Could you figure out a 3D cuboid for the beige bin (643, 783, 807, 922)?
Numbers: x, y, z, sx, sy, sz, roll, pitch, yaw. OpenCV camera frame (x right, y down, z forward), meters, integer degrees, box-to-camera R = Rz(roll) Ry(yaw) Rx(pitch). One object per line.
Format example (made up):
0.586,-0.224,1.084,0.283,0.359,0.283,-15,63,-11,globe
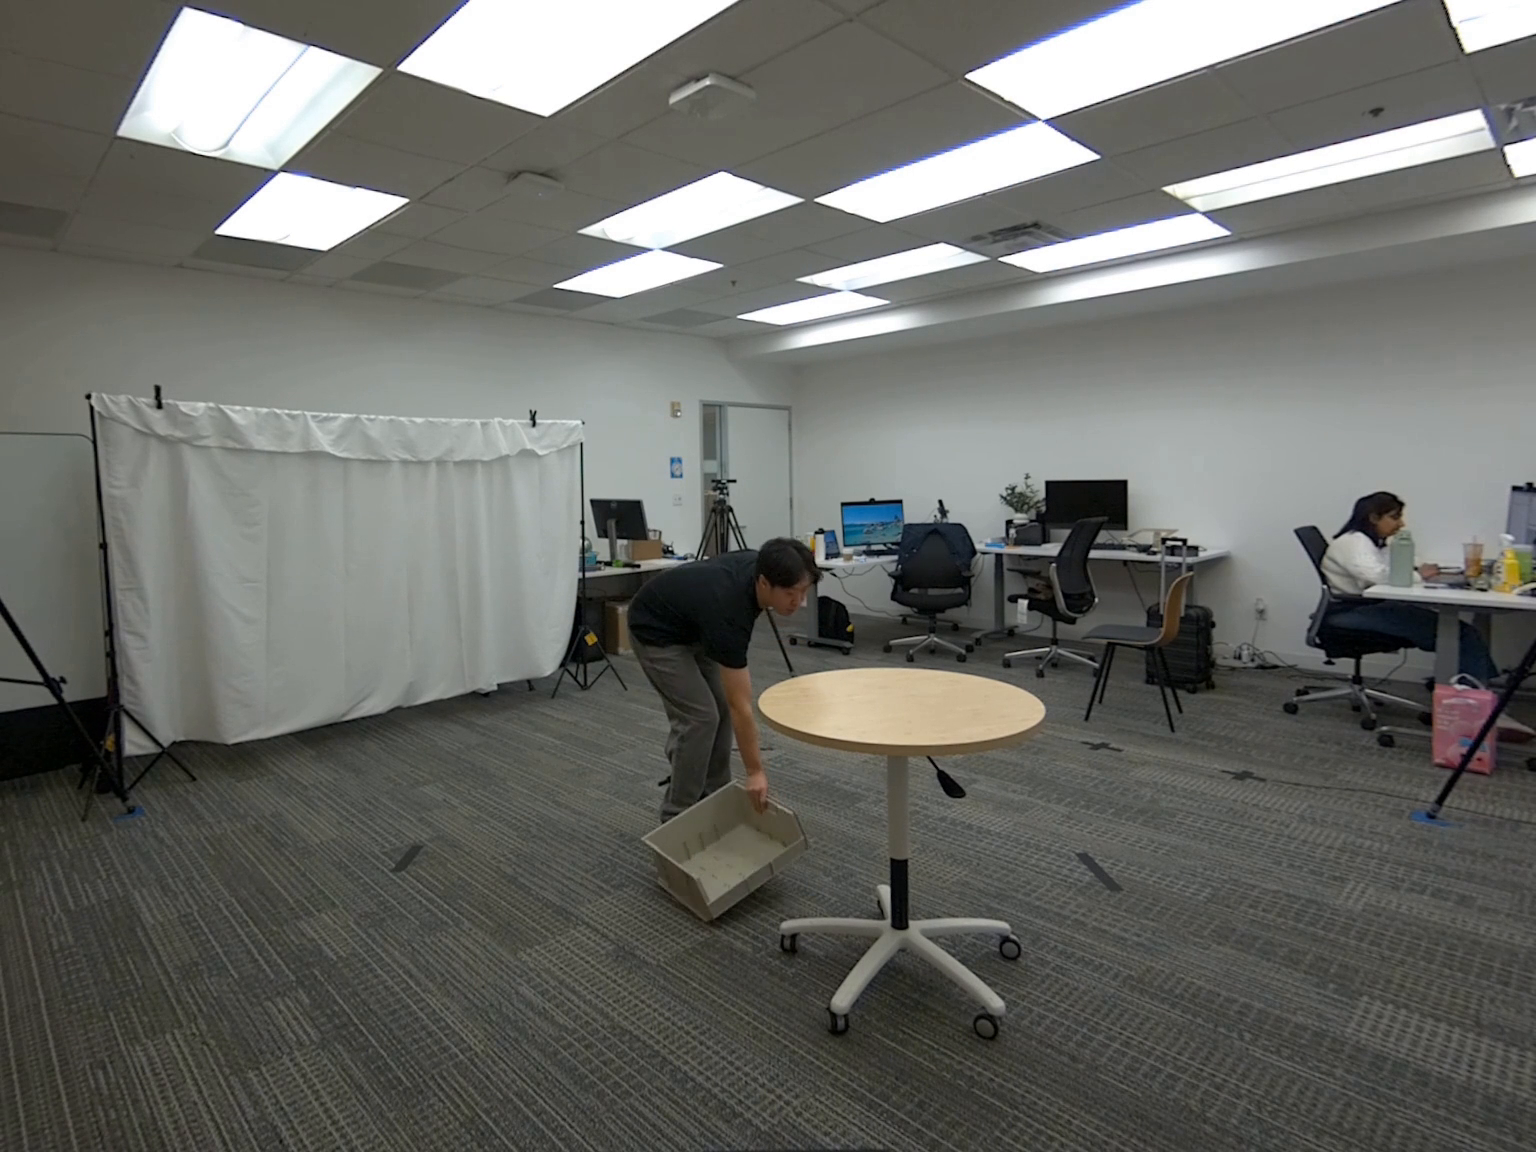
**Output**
-0.138,0.918,2.901,0.416,0.186,0.389,-25,18,-32,beige bin
